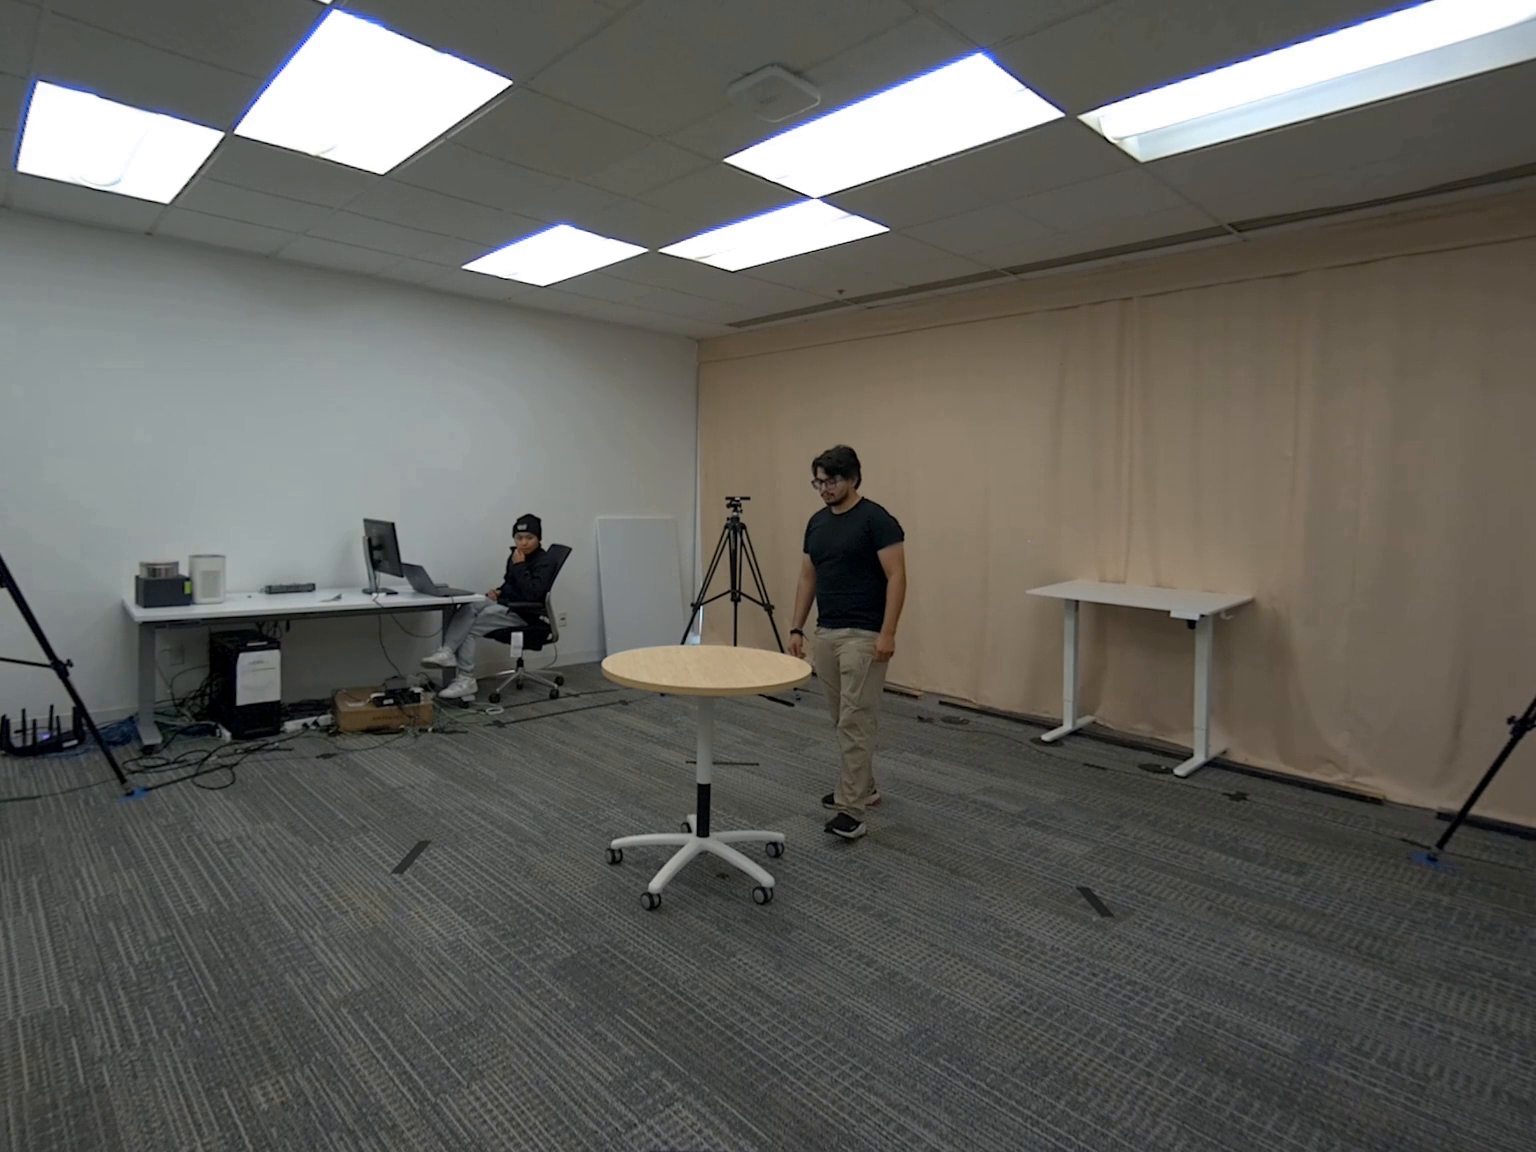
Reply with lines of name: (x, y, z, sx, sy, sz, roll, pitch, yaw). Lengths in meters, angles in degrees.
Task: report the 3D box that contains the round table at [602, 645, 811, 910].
round table: (-0.236, 0.713, 3.093, 0.784, 0.784, 0.788, 1, 4, -1)
